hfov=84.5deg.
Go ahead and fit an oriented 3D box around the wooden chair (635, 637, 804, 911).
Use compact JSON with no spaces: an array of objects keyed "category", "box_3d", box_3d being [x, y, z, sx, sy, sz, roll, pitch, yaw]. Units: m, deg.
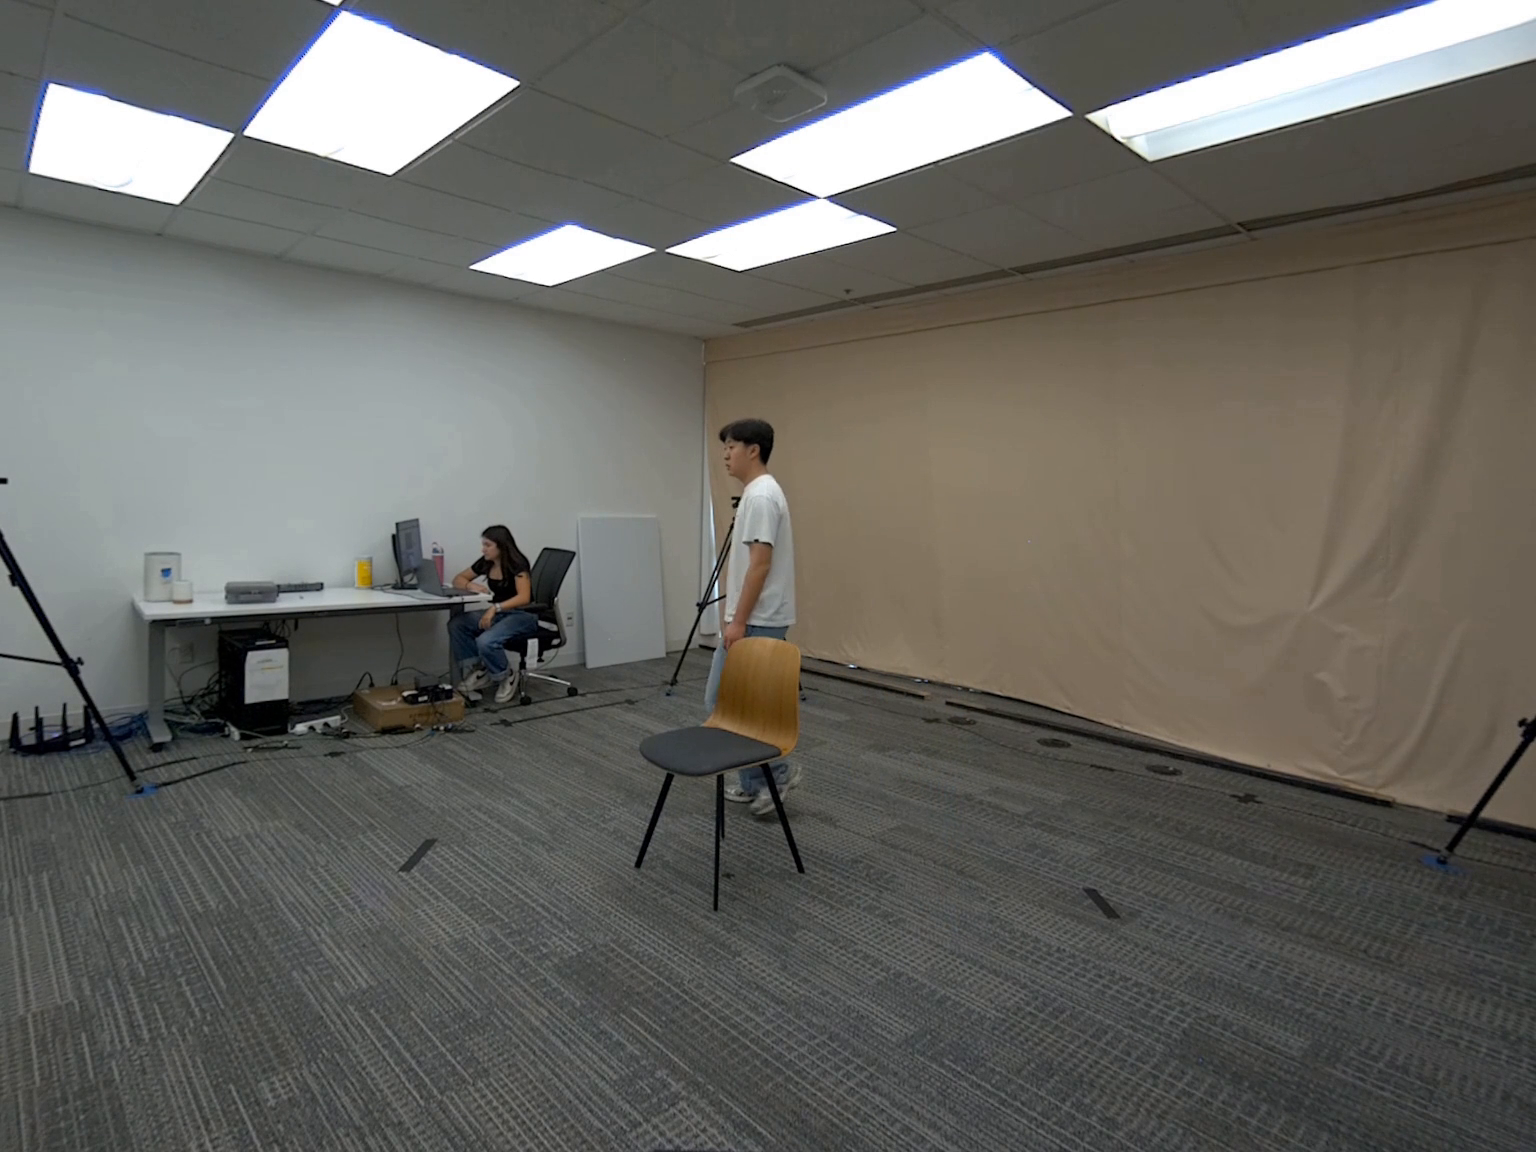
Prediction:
[{"category":"wooden chair","box_3d":[-0.183,0.679,3.109,0.510,0.877,0.490,4,1,-45]}]
